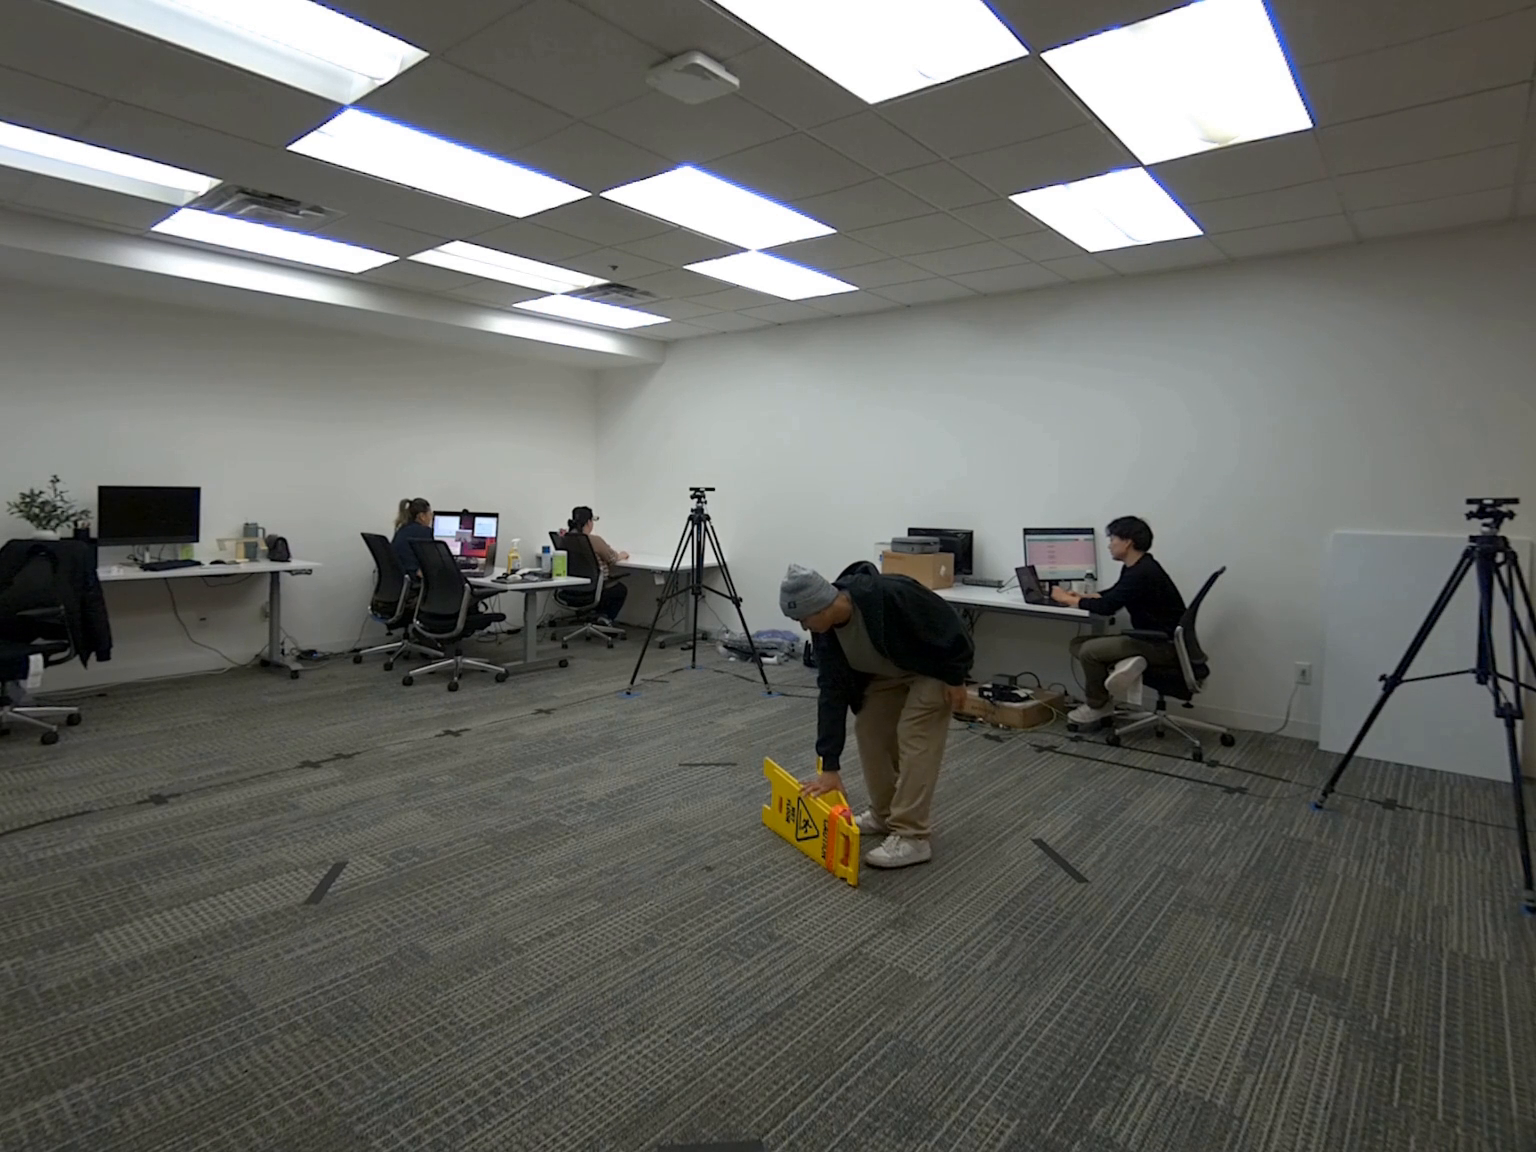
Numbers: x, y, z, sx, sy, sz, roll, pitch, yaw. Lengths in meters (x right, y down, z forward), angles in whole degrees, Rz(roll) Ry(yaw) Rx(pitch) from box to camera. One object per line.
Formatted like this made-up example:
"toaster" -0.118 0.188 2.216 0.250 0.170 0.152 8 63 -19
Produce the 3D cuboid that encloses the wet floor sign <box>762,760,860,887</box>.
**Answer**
"wet floor sign" 0.203 0.933 3.278 0.284 0.280 0.662 -1 9 -19
